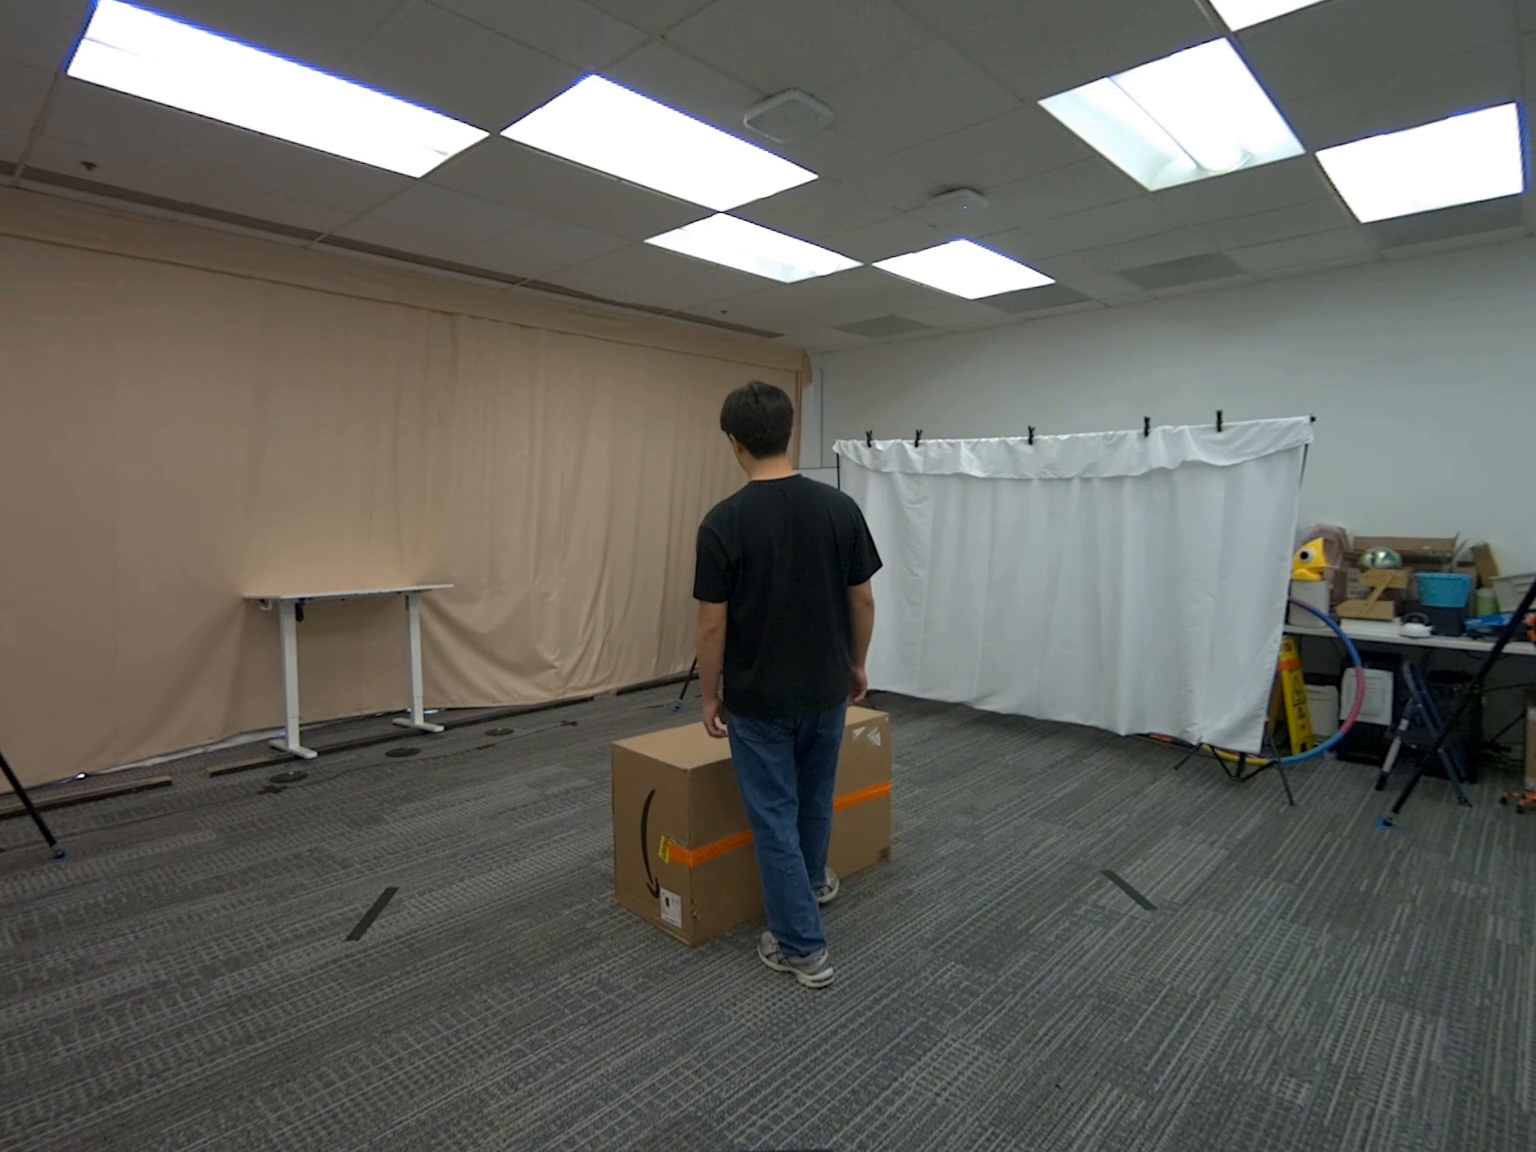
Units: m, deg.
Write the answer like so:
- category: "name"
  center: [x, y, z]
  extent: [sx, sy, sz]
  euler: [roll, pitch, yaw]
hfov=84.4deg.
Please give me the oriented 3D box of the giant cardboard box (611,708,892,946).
- category: "giant cardboard box"
  center: [-0.032, 0.847, 3.131]
  extent: [0.996, 0.582, 0.462]
  euler: [-5, 7, -42]
